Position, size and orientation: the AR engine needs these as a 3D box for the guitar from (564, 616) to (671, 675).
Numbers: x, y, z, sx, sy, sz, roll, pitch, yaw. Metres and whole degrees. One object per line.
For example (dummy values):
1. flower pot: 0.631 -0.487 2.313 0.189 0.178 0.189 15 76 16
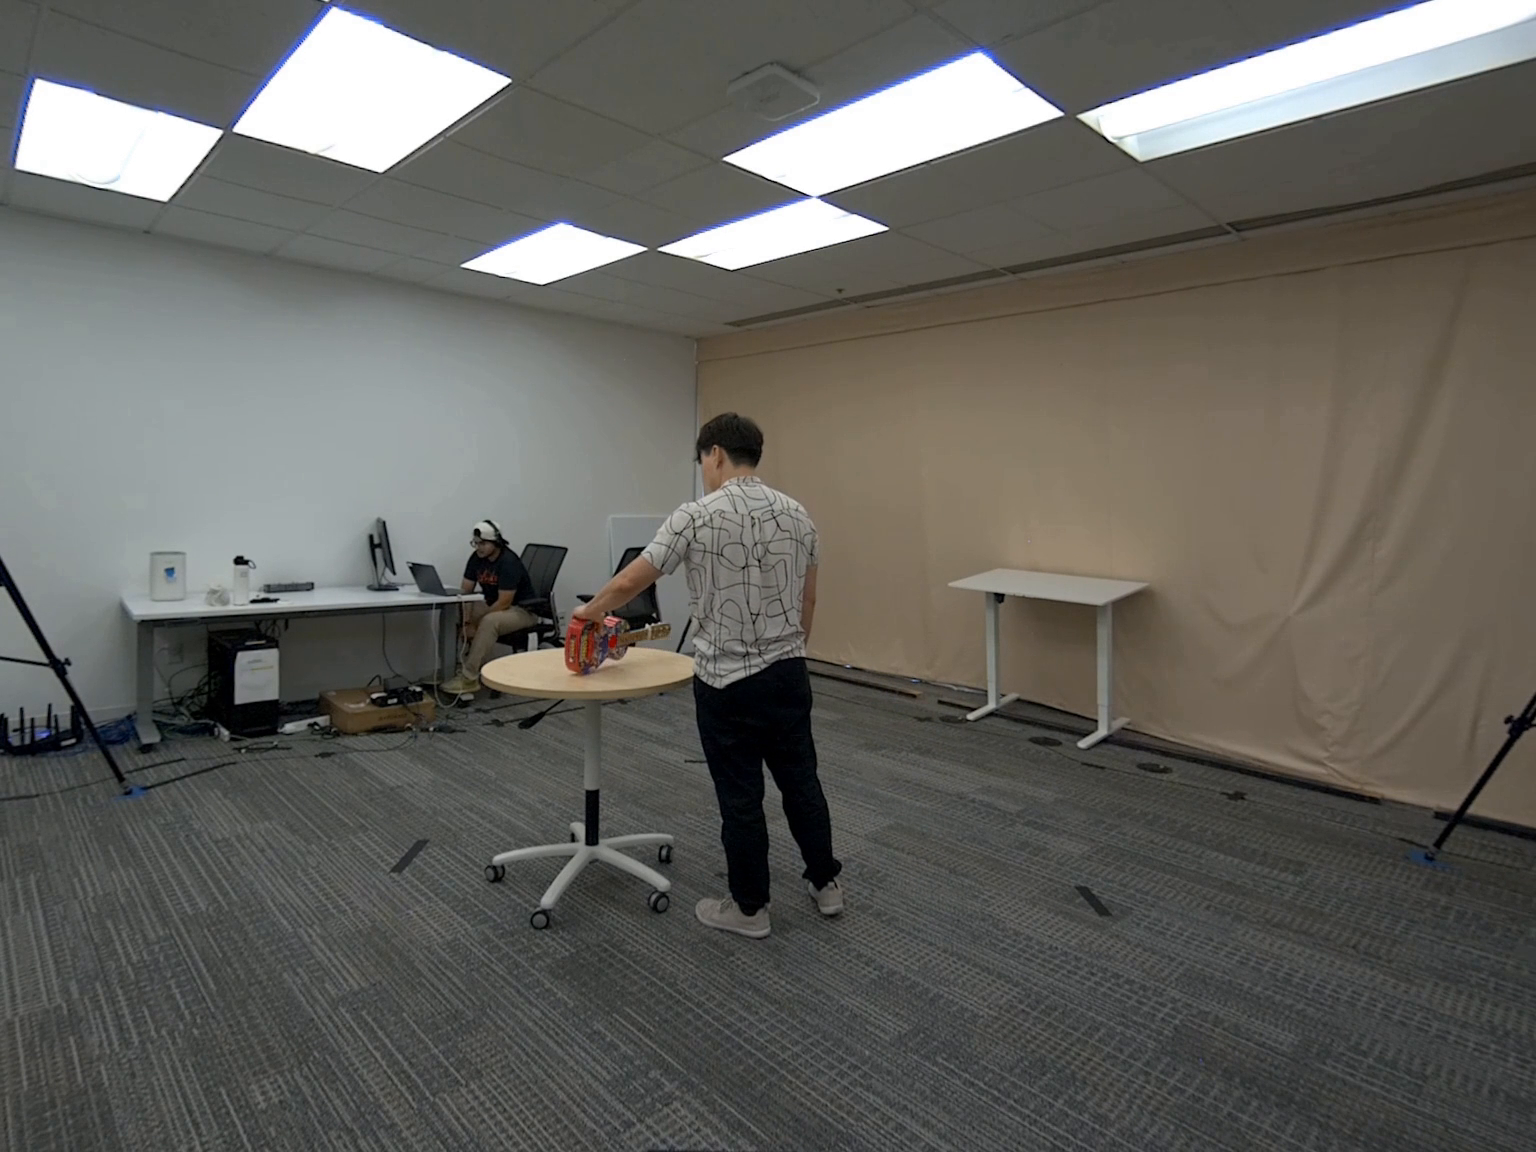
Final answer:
1. guitar: -0.527 0.246 2.984 0.072 0.193 0.486 7 -1 30
